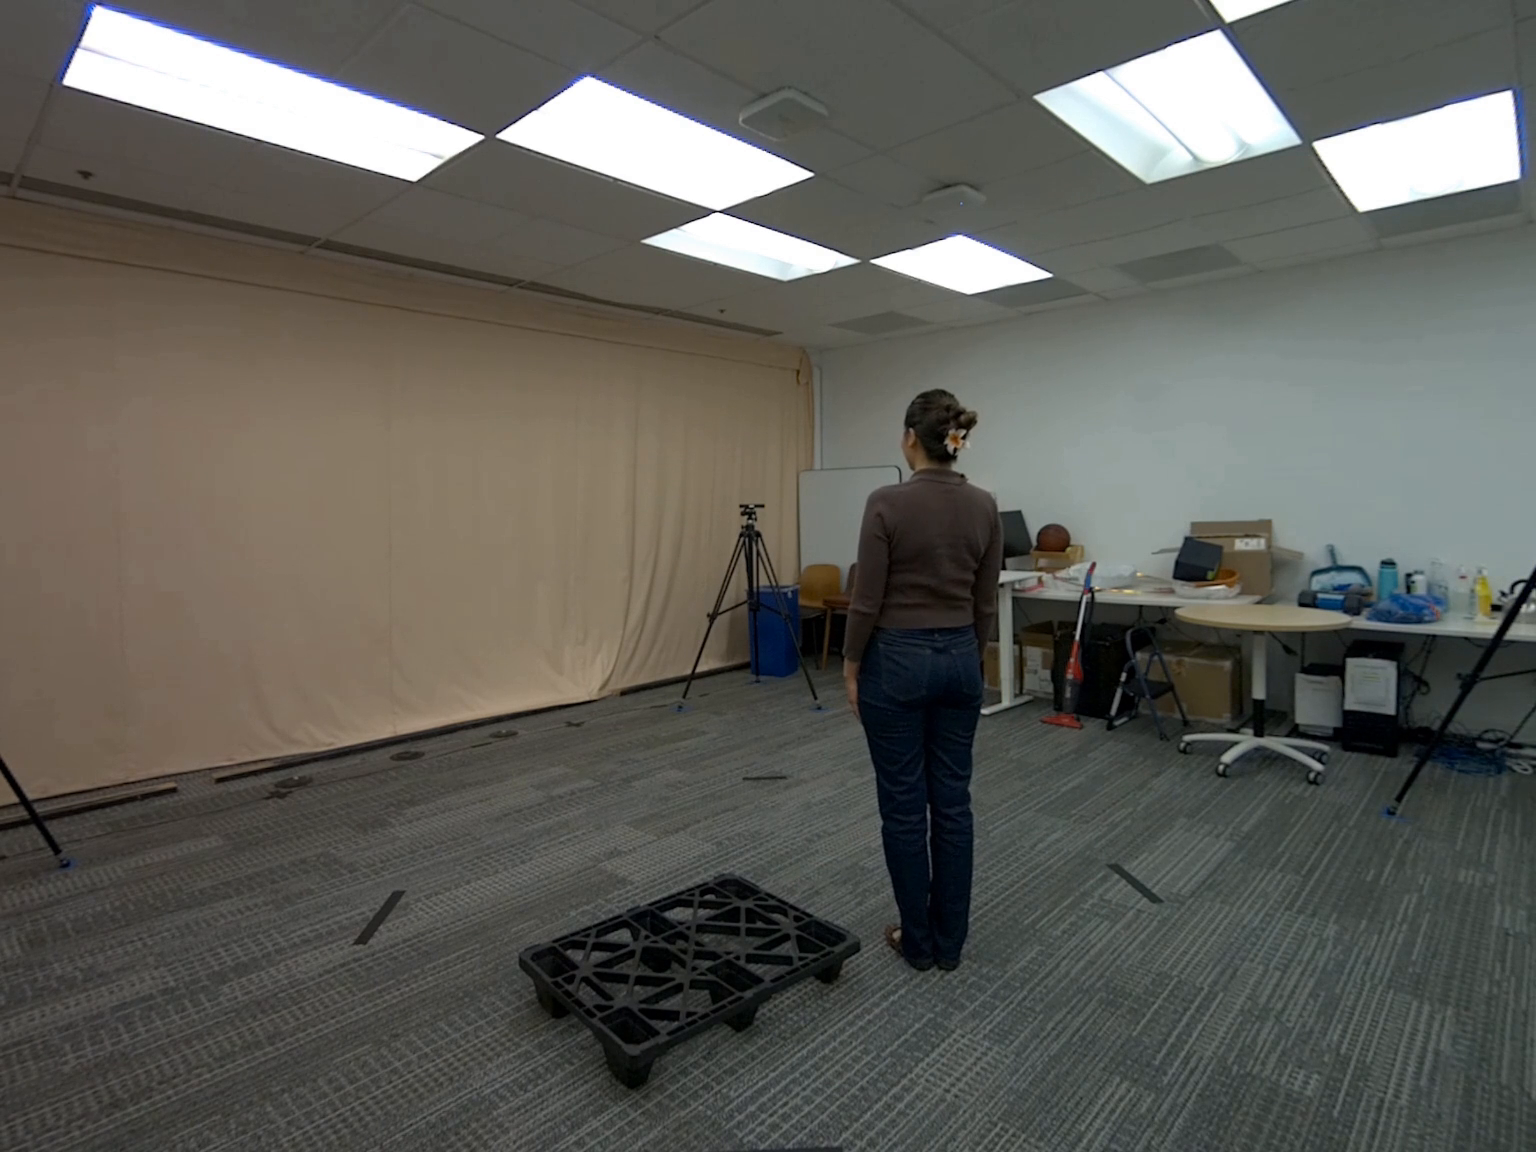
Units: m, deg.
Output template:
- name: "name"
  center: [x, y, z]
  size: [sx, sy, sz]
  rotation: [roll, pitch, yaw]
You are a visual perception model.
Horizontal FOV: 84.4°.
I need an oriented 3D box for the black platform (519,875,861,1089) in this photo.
- name: "black platform"
  center: [-0.222, 1.128, 2.414]
  size: [0.781, 0.143, 0.625]
  rotation: [-5, 6, -40]
